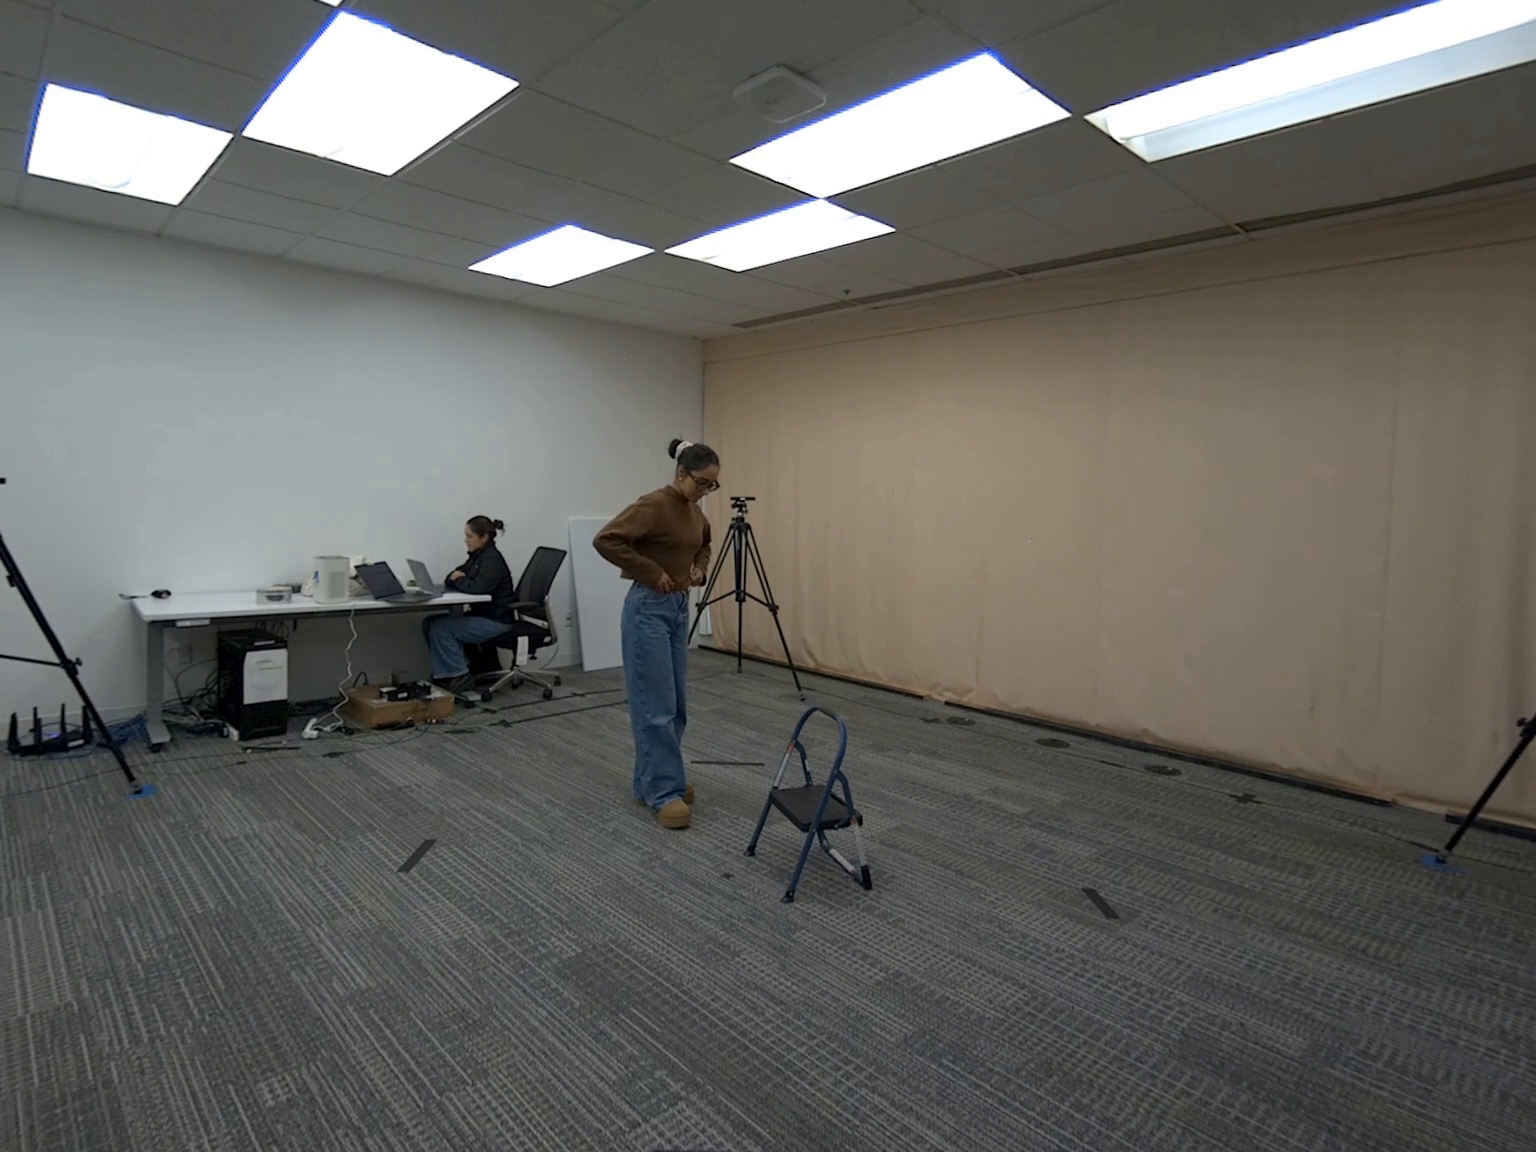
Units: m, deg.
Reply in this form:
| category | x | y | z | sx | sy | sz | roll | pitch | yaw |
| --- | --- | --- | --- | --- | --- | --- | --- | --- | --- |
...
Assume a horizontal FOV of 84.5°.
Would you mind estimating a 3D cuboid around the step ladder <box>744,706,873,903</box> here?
| category | x | y | z | sx | sy | sz | roll | pitch | yaw |
| --- | --- | --- | --- | --- | --- | --- | --- | --- | --- |
| step ladder | 0.145 | 0.808 | 3.137 | 0.344 | 0.605 | 0.438 | 0 | 4 | -20 |
